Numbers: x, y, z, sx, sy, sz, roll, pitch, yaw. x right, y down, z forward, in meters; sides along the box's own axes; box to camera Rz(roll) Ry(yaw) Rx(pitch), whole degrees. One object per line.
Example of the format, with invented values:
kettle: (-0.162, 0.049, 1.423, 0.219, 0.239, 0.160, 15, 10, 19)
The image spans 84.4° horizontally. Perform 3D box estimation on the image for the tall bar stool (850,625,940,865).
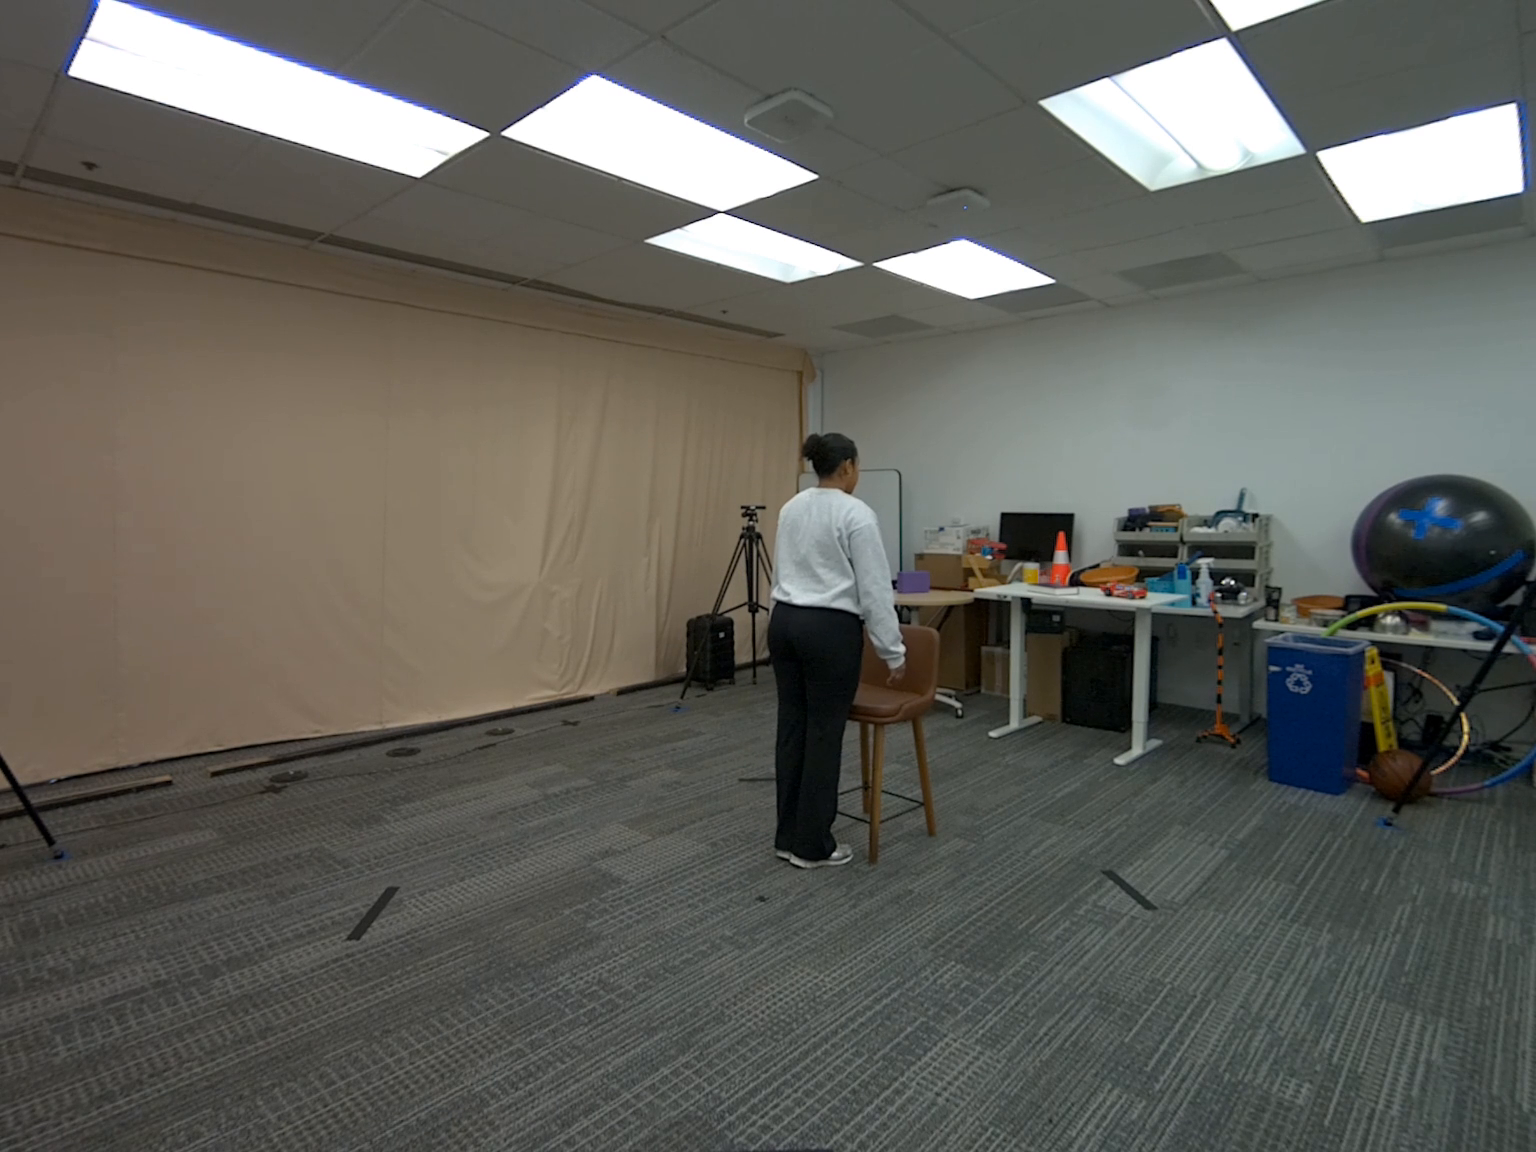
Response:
tall bar stool: (0.434, 0.655, 3.535, 0.453, 0.888, 0.472, -1, 3, -44)
